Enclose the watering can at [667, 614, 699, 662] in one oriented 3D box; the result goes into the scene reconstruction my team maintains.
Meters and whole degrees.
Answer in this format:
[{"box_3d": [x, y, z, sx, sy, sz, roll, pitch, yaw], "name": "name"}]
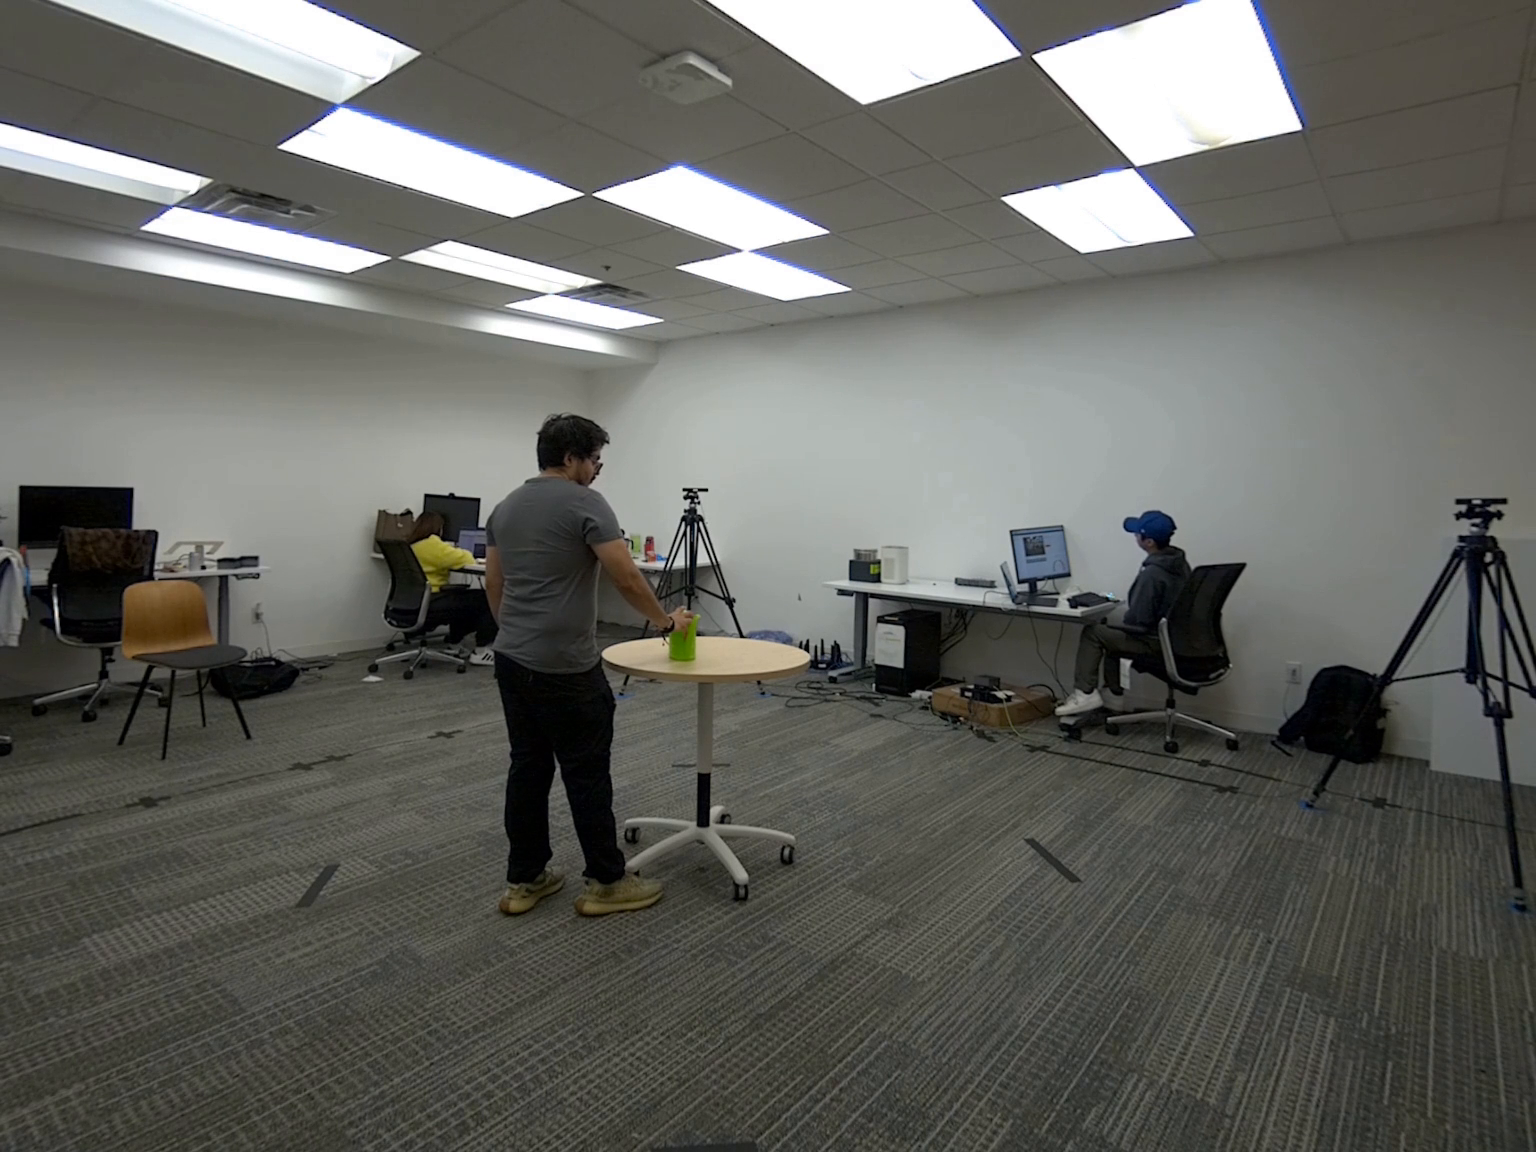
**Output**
[{"box_3d": [-0.306, 0.212, 2.993, 0.097, 0.176, 0.281, 2, 2, -10], "name": "watering can"}]
